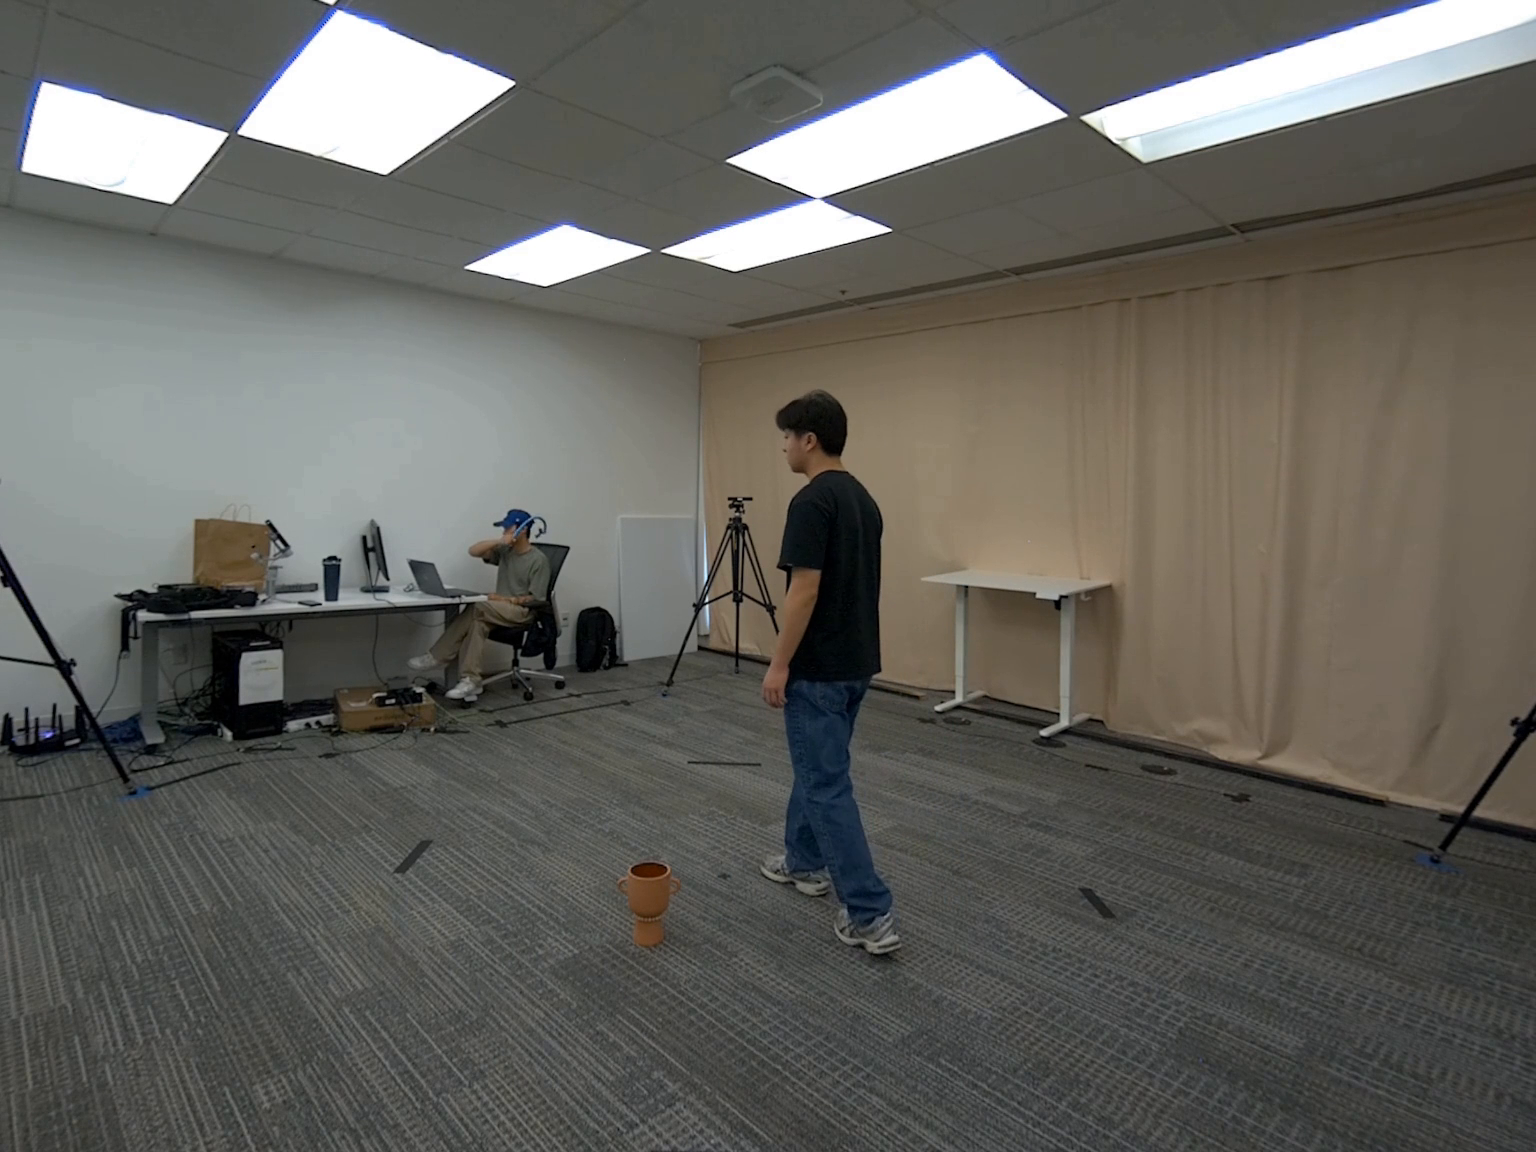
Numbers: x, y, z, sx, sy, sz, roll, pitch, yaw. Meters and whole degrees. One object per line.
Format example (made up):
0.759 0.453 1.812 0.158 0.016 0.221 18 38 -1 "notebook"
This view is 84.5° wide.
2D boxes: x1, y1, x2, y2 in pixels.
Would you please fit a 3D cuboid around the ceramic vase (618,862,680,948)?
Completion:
-0.377 1.024 2.651 0.162 0.219 0.132 3 3 36 "ceramic vase"
